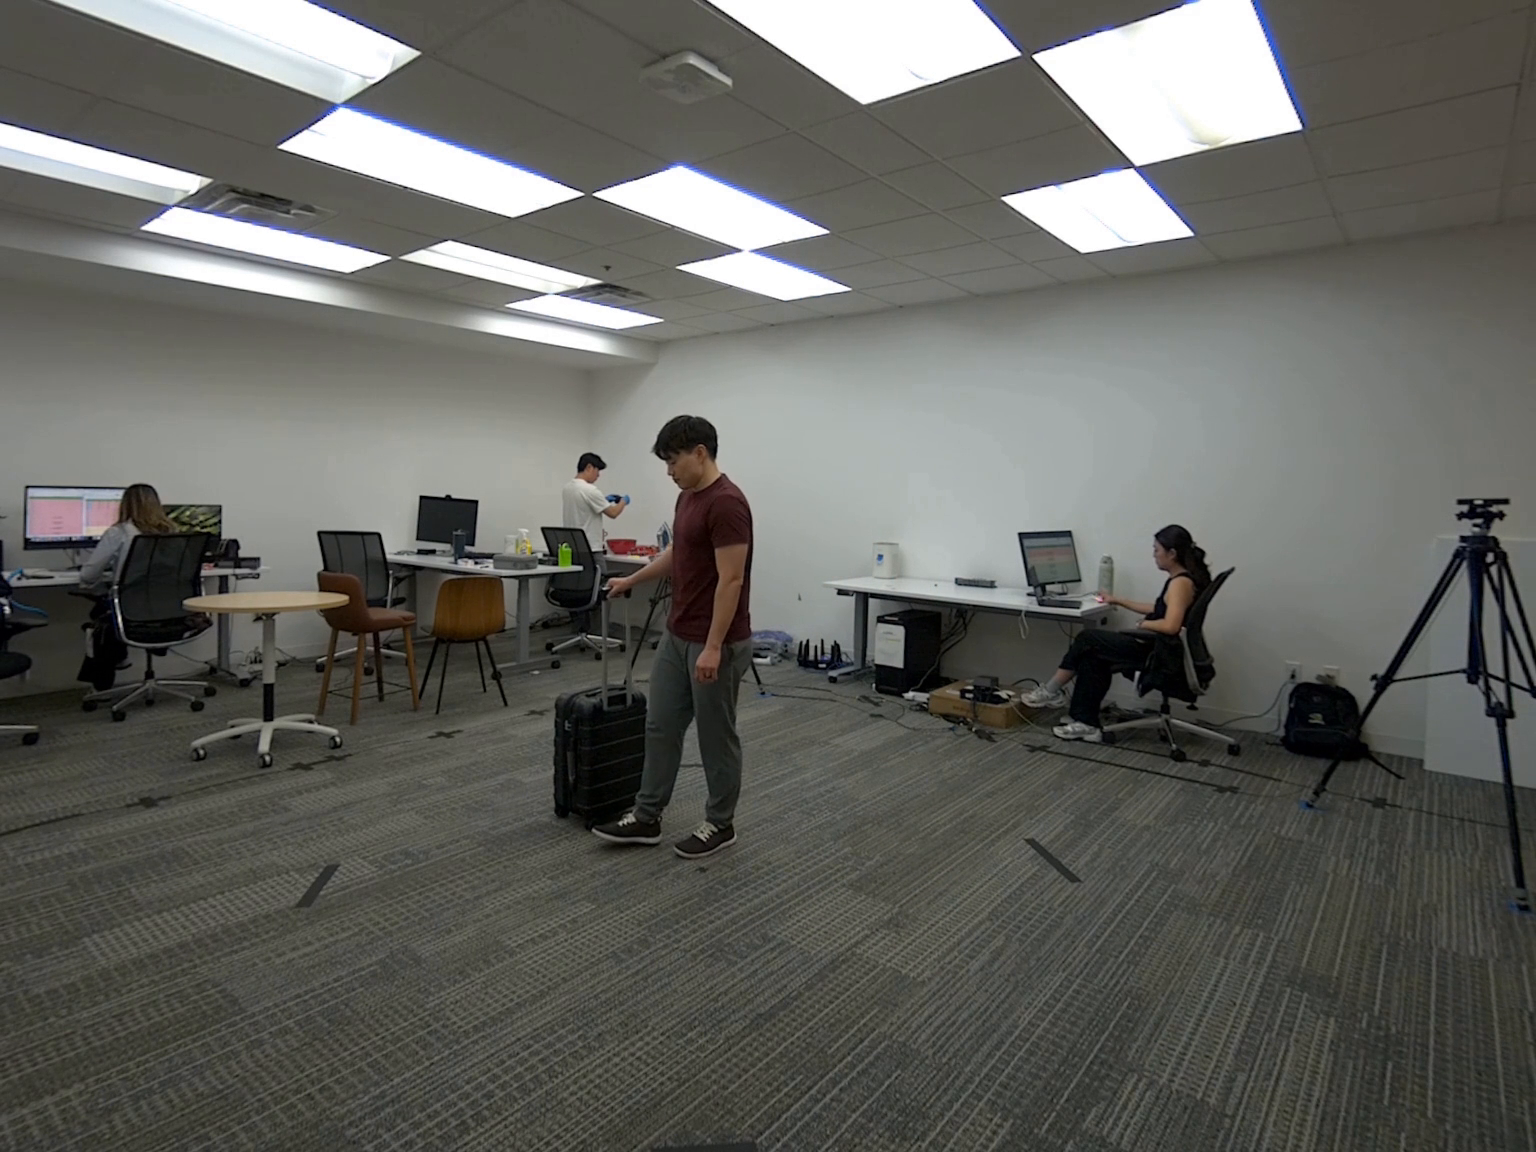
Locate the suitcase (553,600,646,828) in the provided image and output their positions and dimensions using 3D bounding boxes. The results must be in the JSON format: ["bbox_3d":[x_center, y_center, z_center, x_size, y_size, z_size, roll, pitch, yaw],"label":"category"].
[{"bbox_3d":[-0.729,0.540,3.599,0.372,0.977,0.265,-2,2,-44],"label":"suitcase"}]
